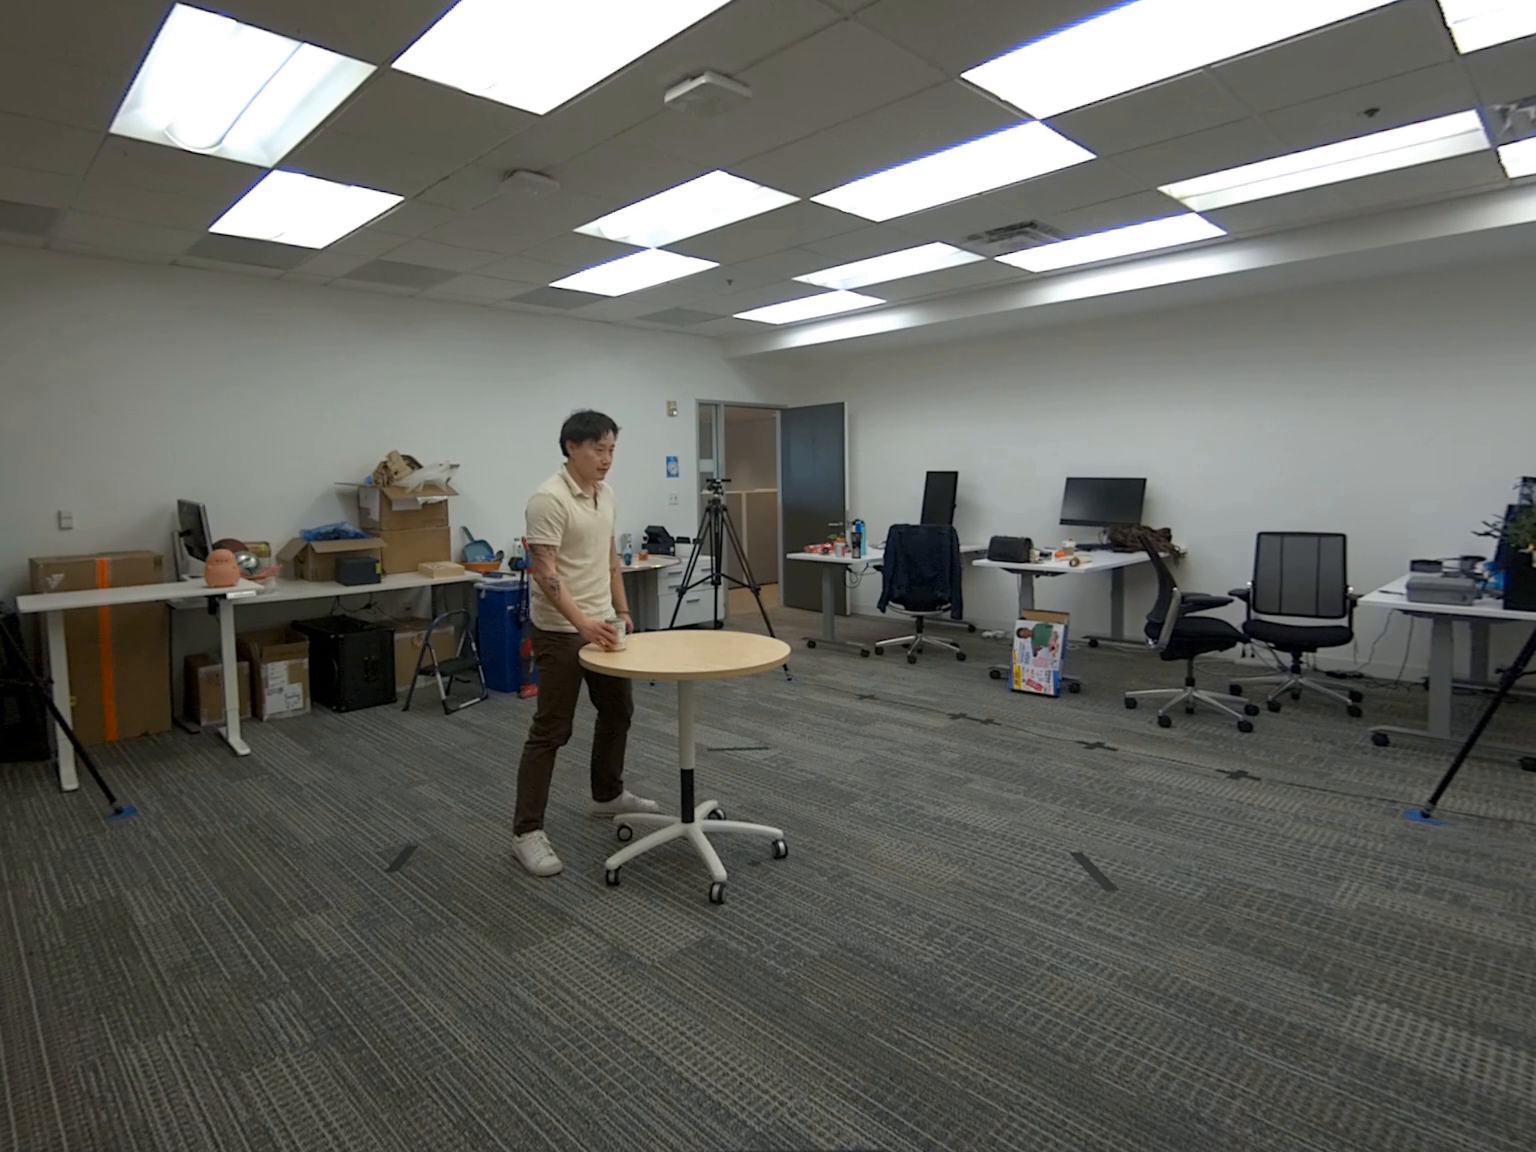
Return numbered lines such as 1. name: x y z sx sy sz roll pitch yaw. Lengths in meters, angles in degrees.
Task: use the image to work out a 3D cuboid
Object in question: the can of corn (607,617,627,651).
1. can of corn: -0.554 0.214 3.094 0.074 0.110 0.075 -2 6 -1
